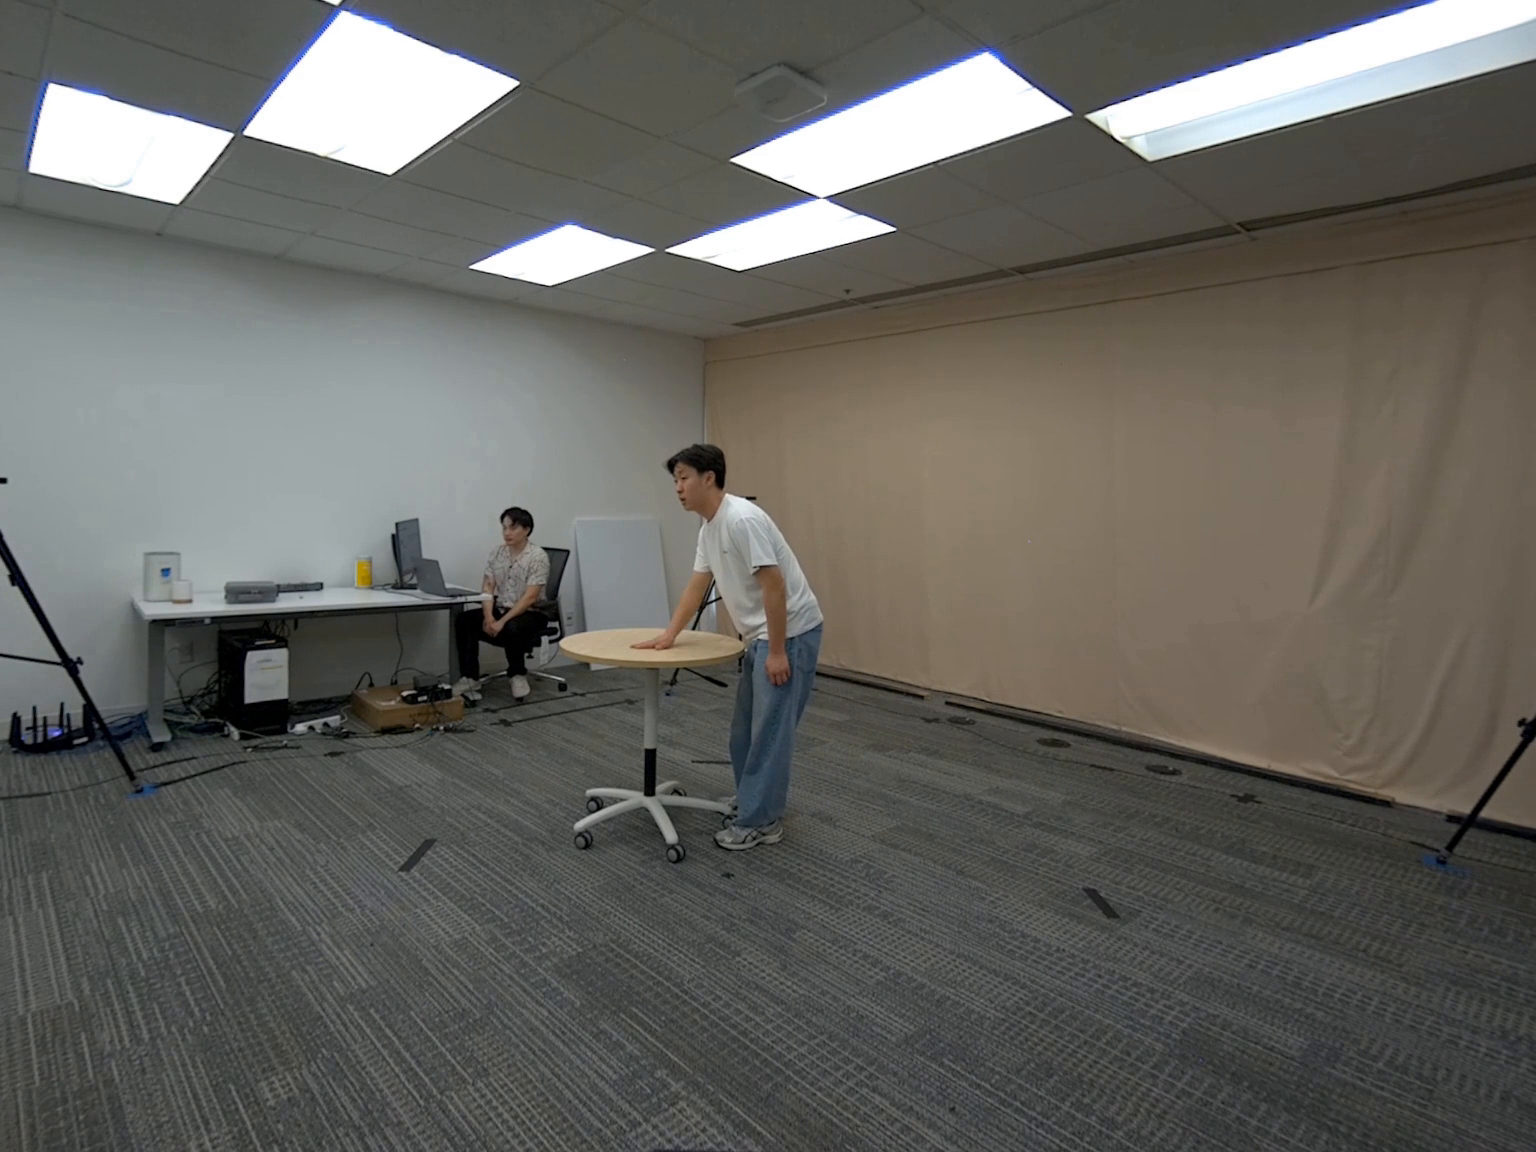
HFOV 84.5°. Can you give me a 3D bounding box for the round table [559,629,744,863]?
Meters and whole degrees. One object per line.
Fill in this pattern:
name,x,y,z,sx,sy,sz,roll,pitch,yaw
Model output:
round table,-0.495,0.669,3.506,0.763,0.792,0.766,1,4,-1
